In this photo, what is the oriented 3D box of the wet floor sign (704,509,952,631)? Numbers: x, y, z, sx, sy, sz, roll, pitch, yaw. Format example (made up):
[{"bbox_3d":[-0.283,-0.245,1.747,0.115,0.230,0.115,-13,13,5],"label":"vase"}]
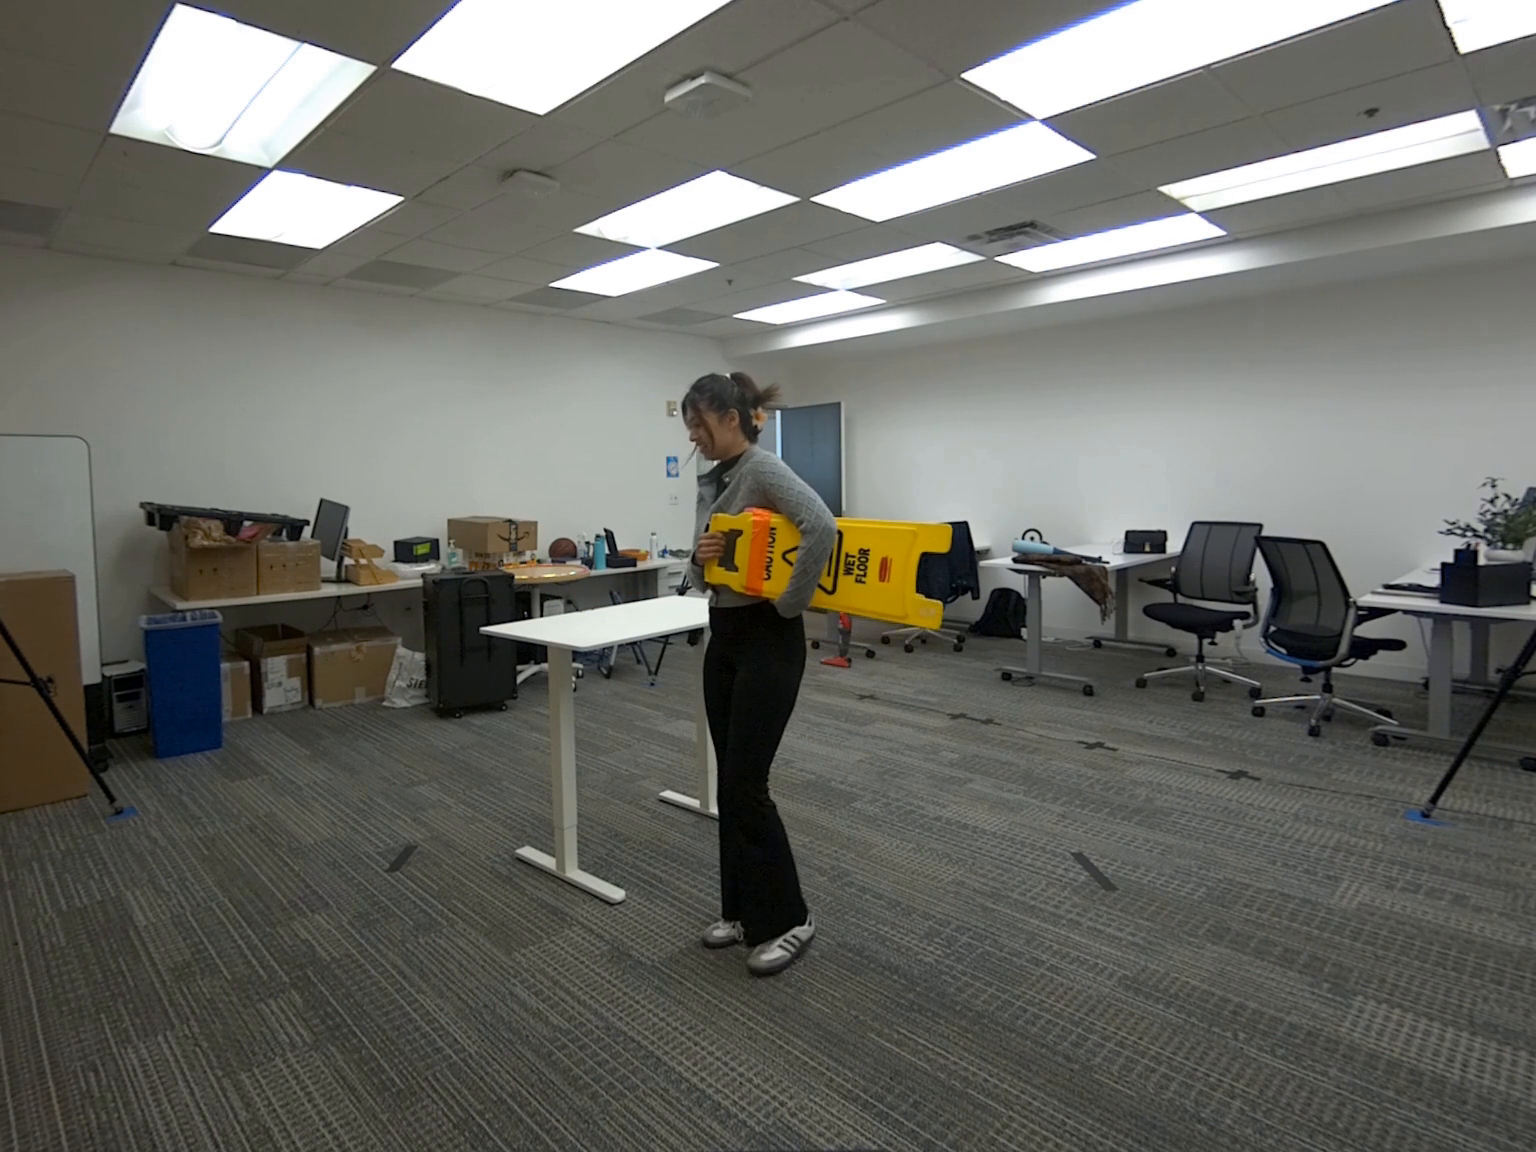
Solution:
[{"bbox_3d":[0.147,-0.036,2.390,0.648,0.282,0.289,7,2,3],"label":"wet floor sign"}]
